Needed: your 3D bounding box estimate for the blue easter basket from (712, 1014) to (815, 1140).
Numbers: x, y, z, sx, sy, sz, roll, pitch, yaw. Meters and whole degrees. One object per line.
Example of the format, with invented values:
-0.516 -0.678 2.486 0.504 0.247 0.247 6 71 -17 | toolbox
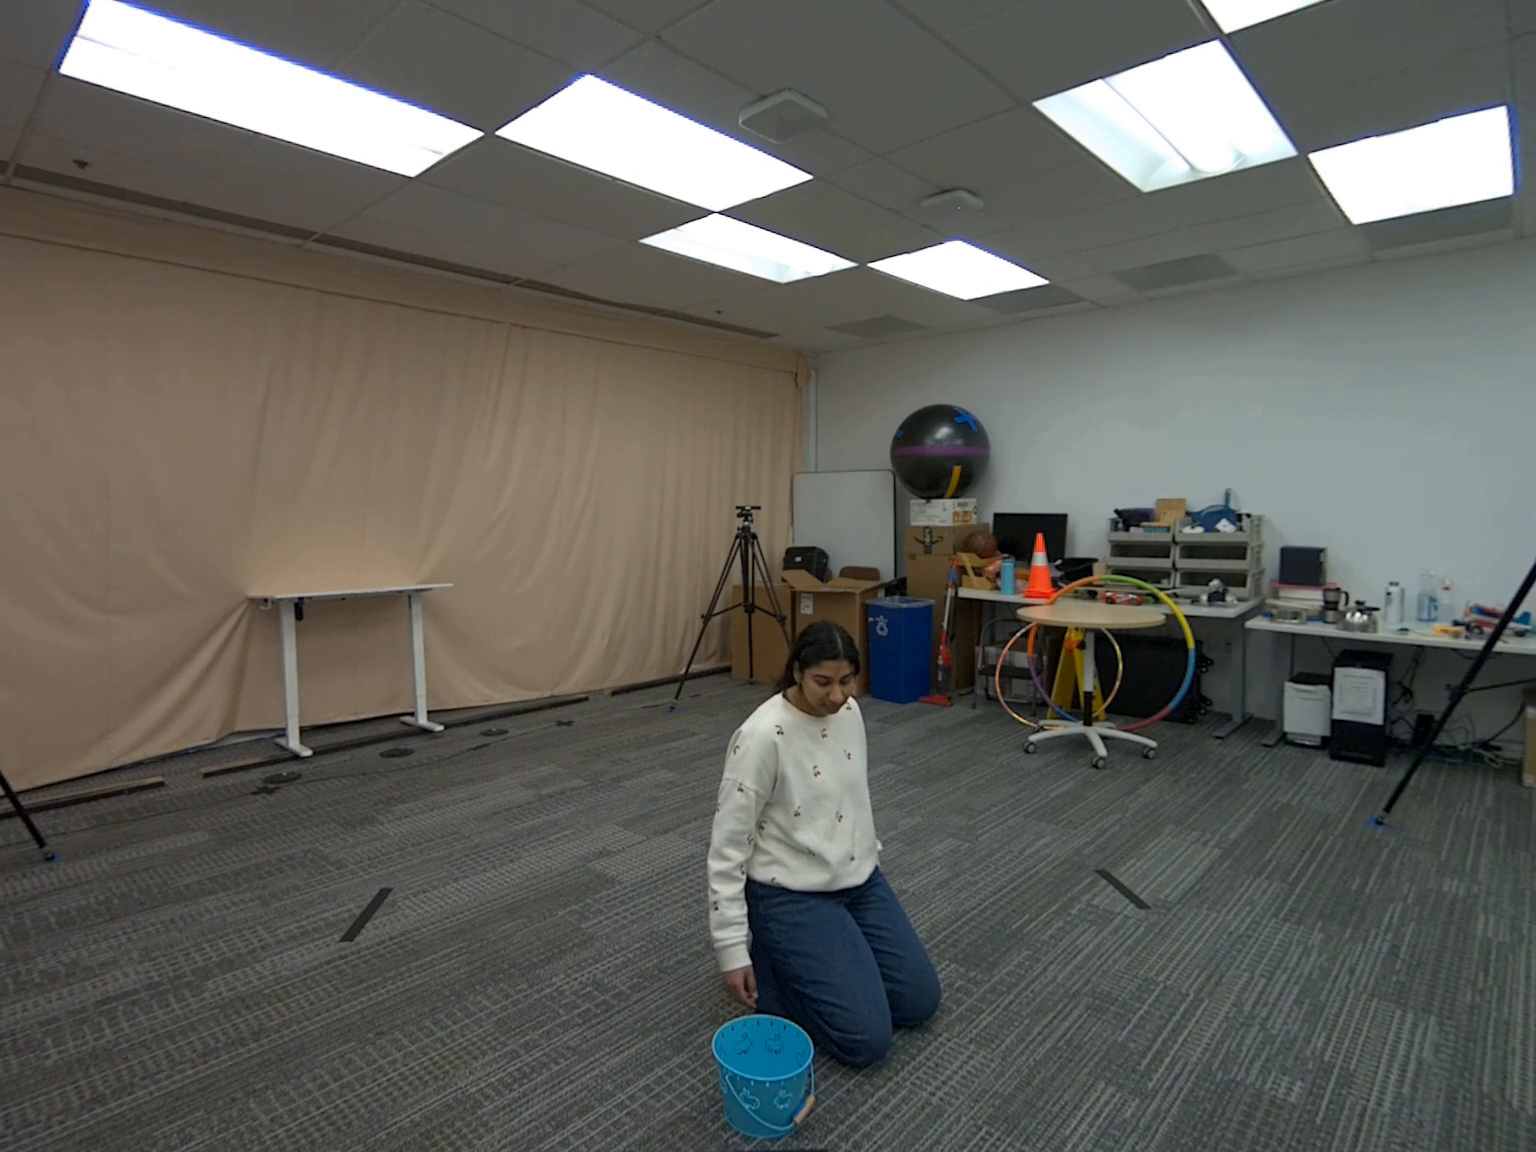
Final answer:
-0.016 1.148 1.950 0.243 0.155 0.244 0 4 -2 | blue easter basket
